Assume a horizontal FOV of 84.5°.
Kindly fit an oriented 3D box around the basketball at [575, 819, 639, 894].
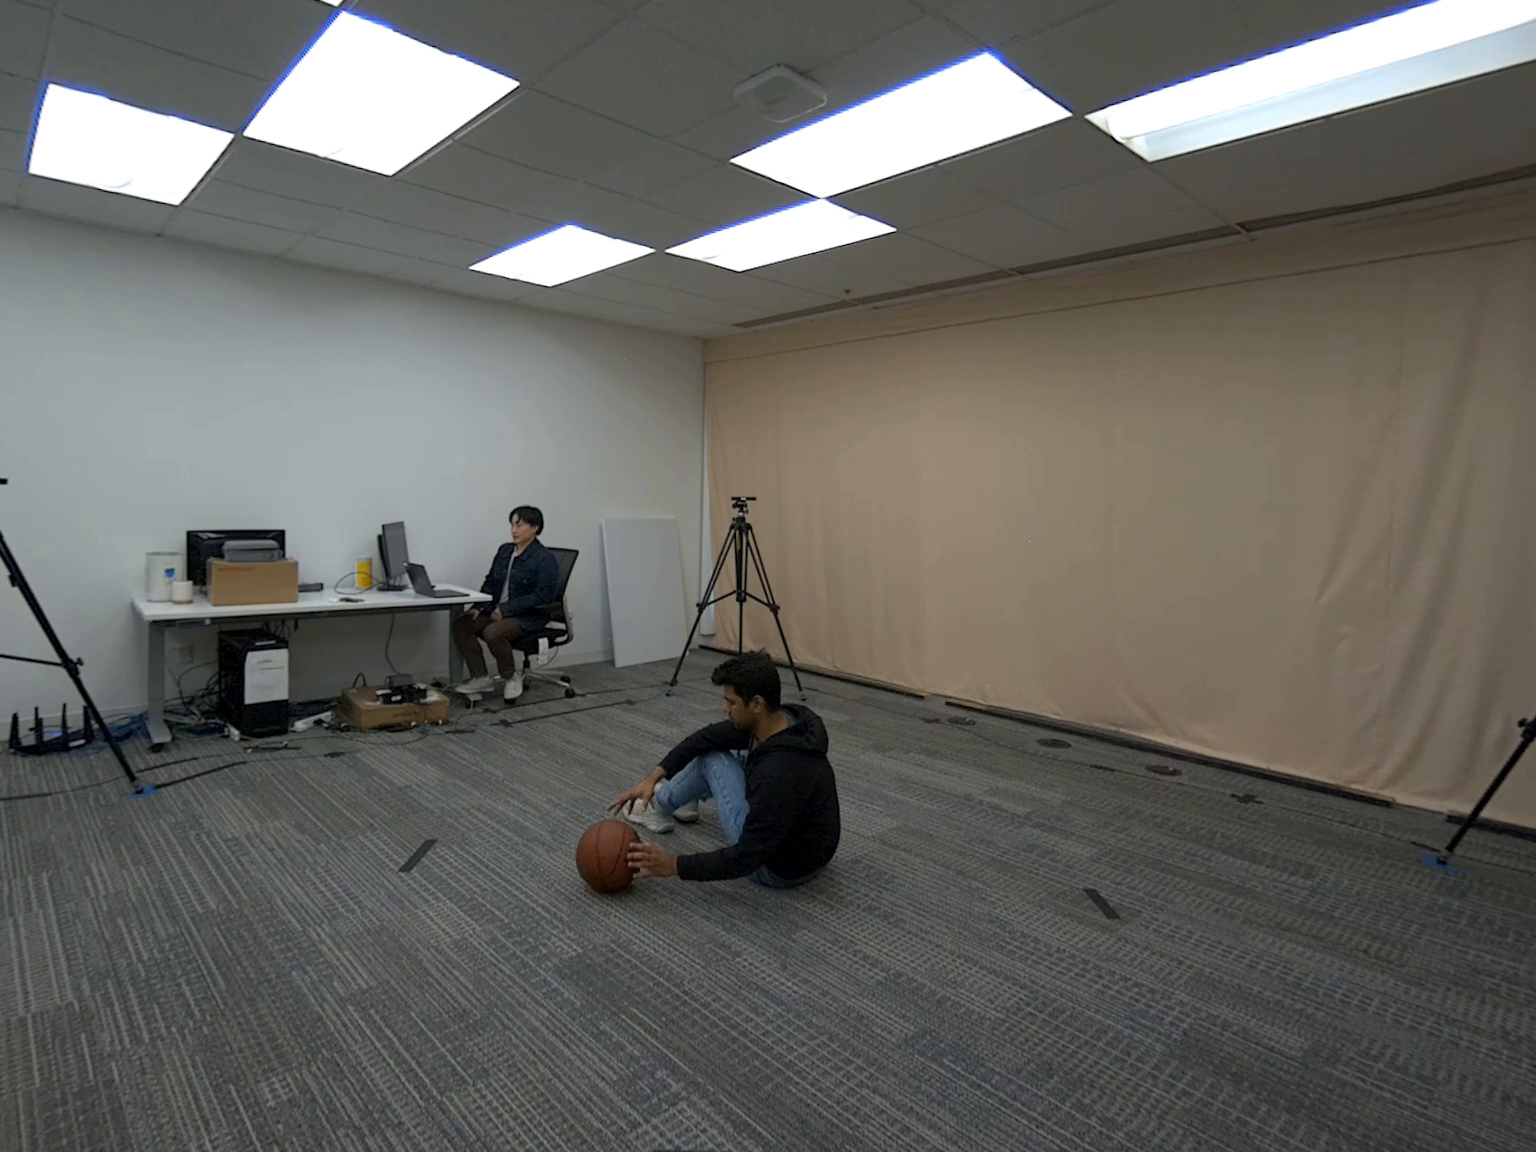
[{"bbox_3d":[-0.560,0.982,2.983,0.236,0.235,0.237,1,4,-1],"label":"basketball"}]
